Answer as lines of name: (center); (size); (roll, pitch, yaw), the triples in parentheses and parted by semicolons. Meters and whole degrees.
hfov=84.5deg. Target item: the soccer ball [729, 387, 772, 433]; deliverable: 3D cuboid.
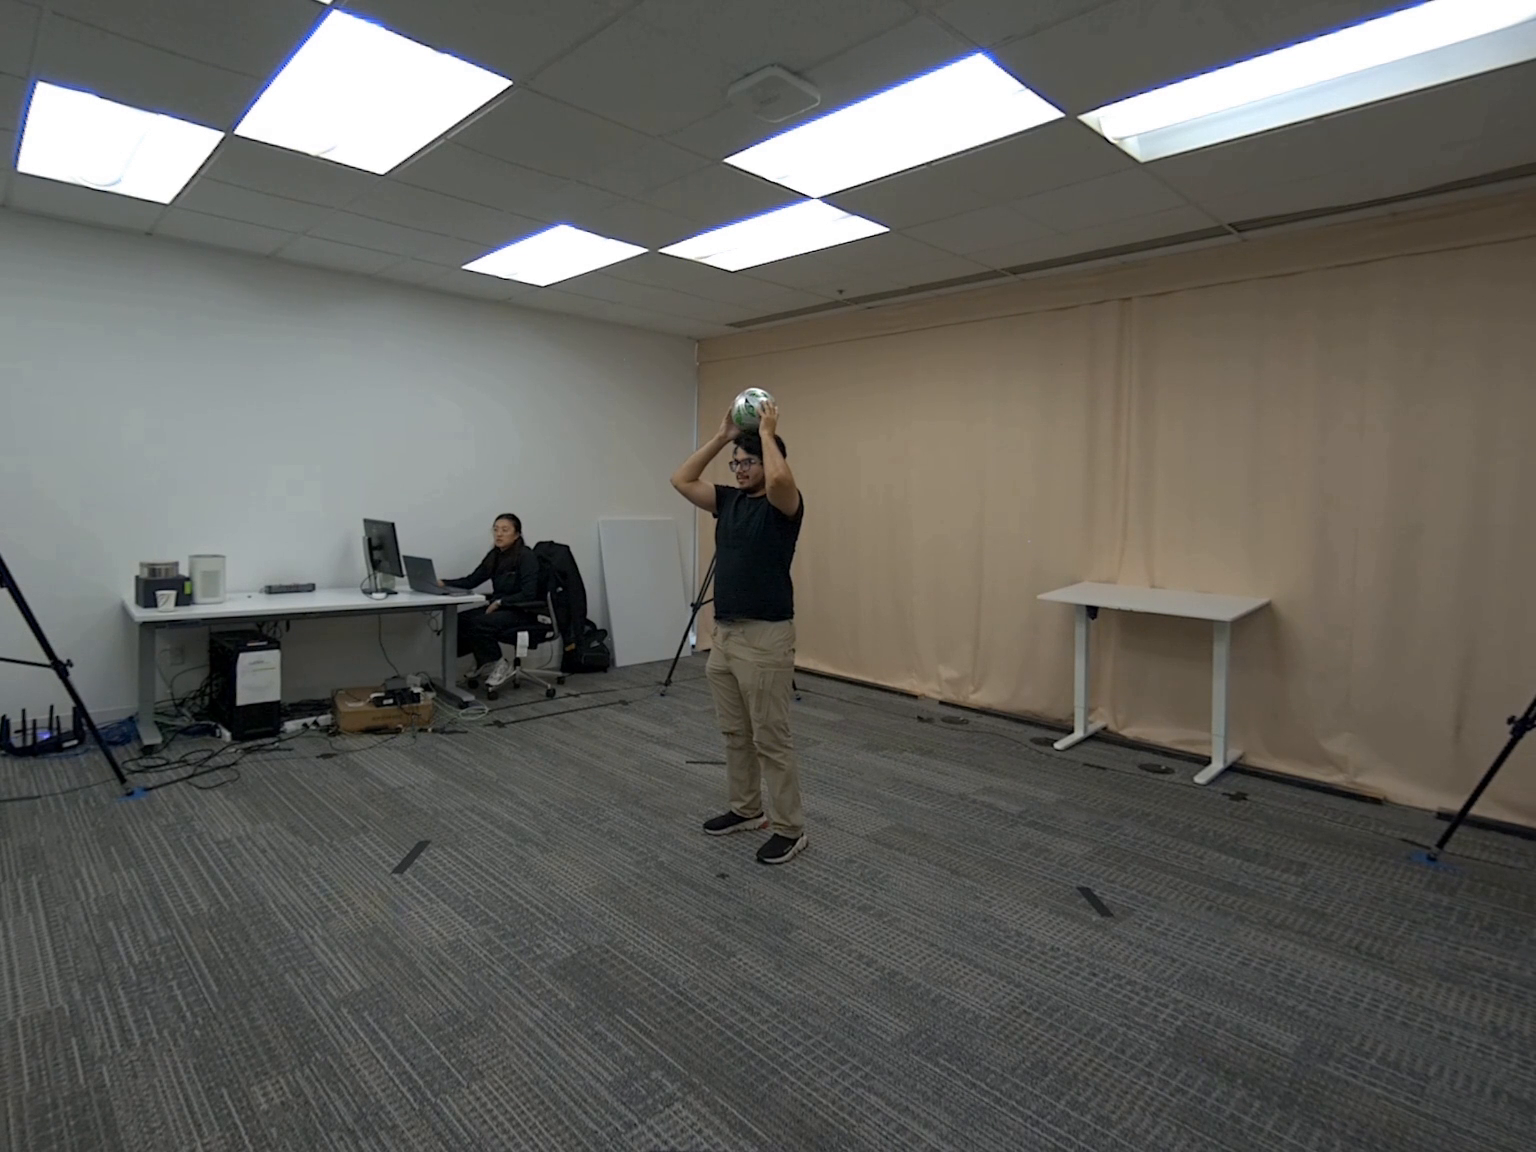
soccer ball: (-0.060, -0.655, 3.374); (0.187, 0.187, 0.188); (1, 4, -1)
